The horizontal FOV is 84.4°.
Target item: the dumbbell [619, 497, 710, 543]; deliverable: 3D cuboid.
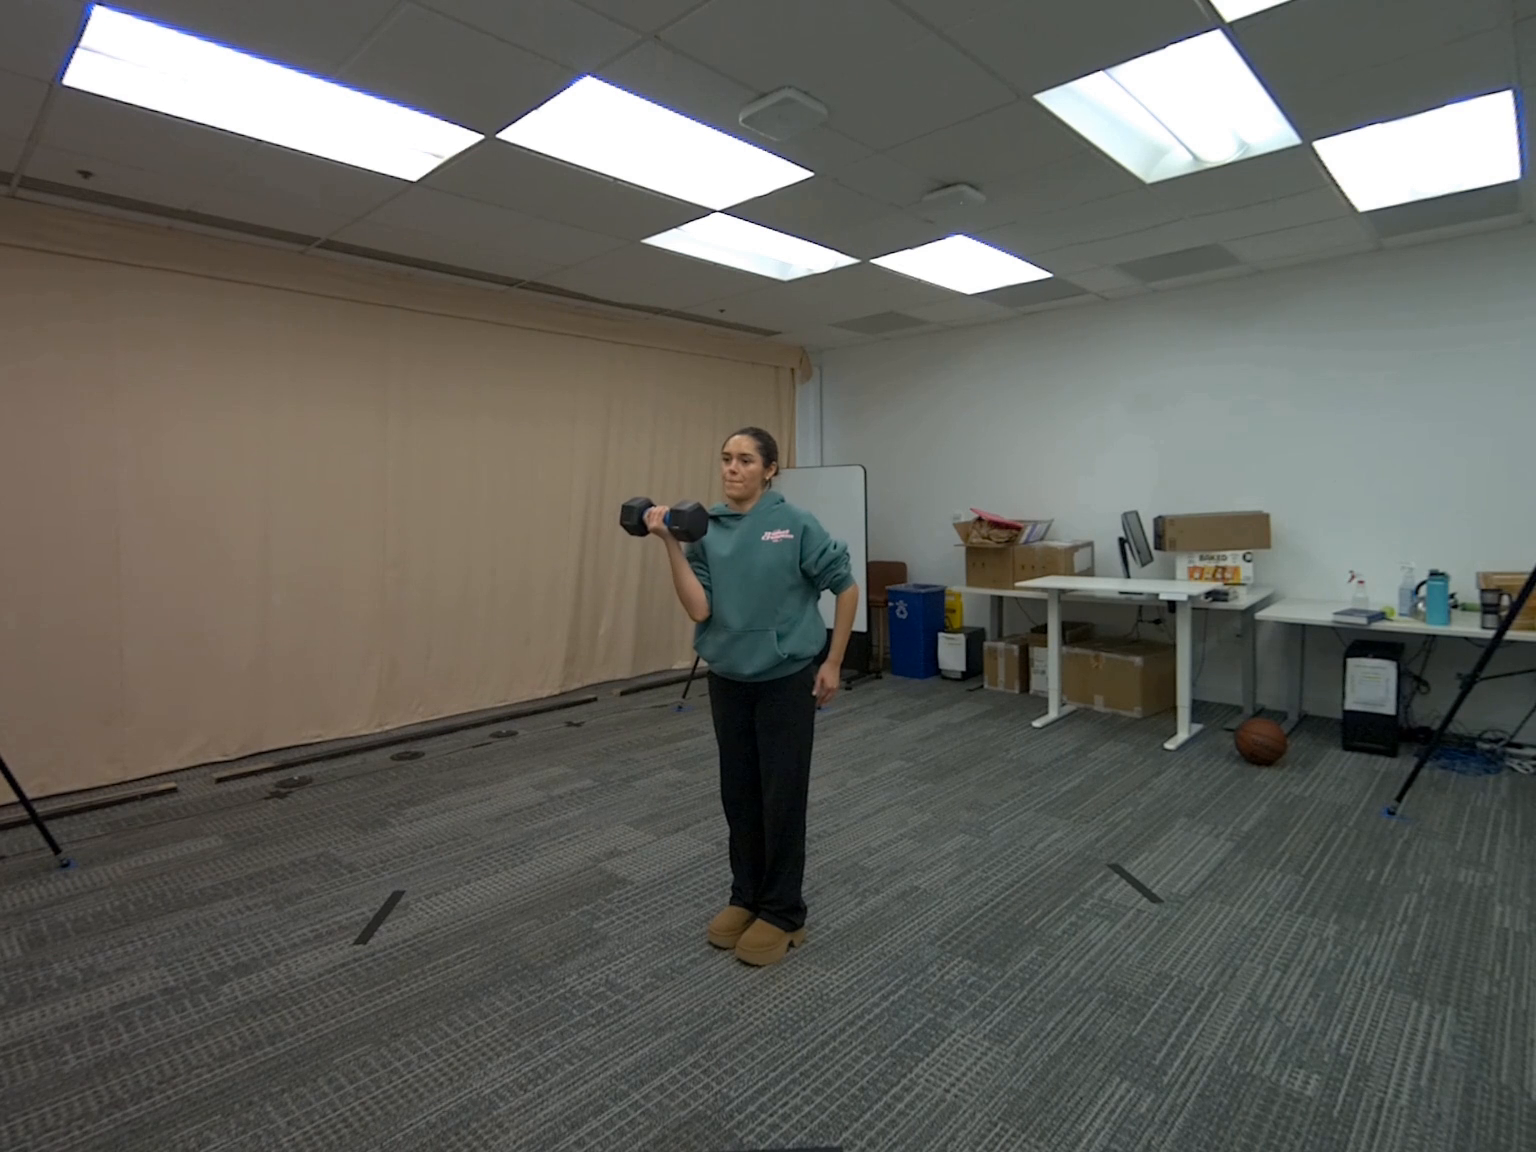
[{"bbox_3d":[-0.312,-0.172,2.541,0.303,0.109,0.119,9,-30,39],"label":"dumbbell"}]
